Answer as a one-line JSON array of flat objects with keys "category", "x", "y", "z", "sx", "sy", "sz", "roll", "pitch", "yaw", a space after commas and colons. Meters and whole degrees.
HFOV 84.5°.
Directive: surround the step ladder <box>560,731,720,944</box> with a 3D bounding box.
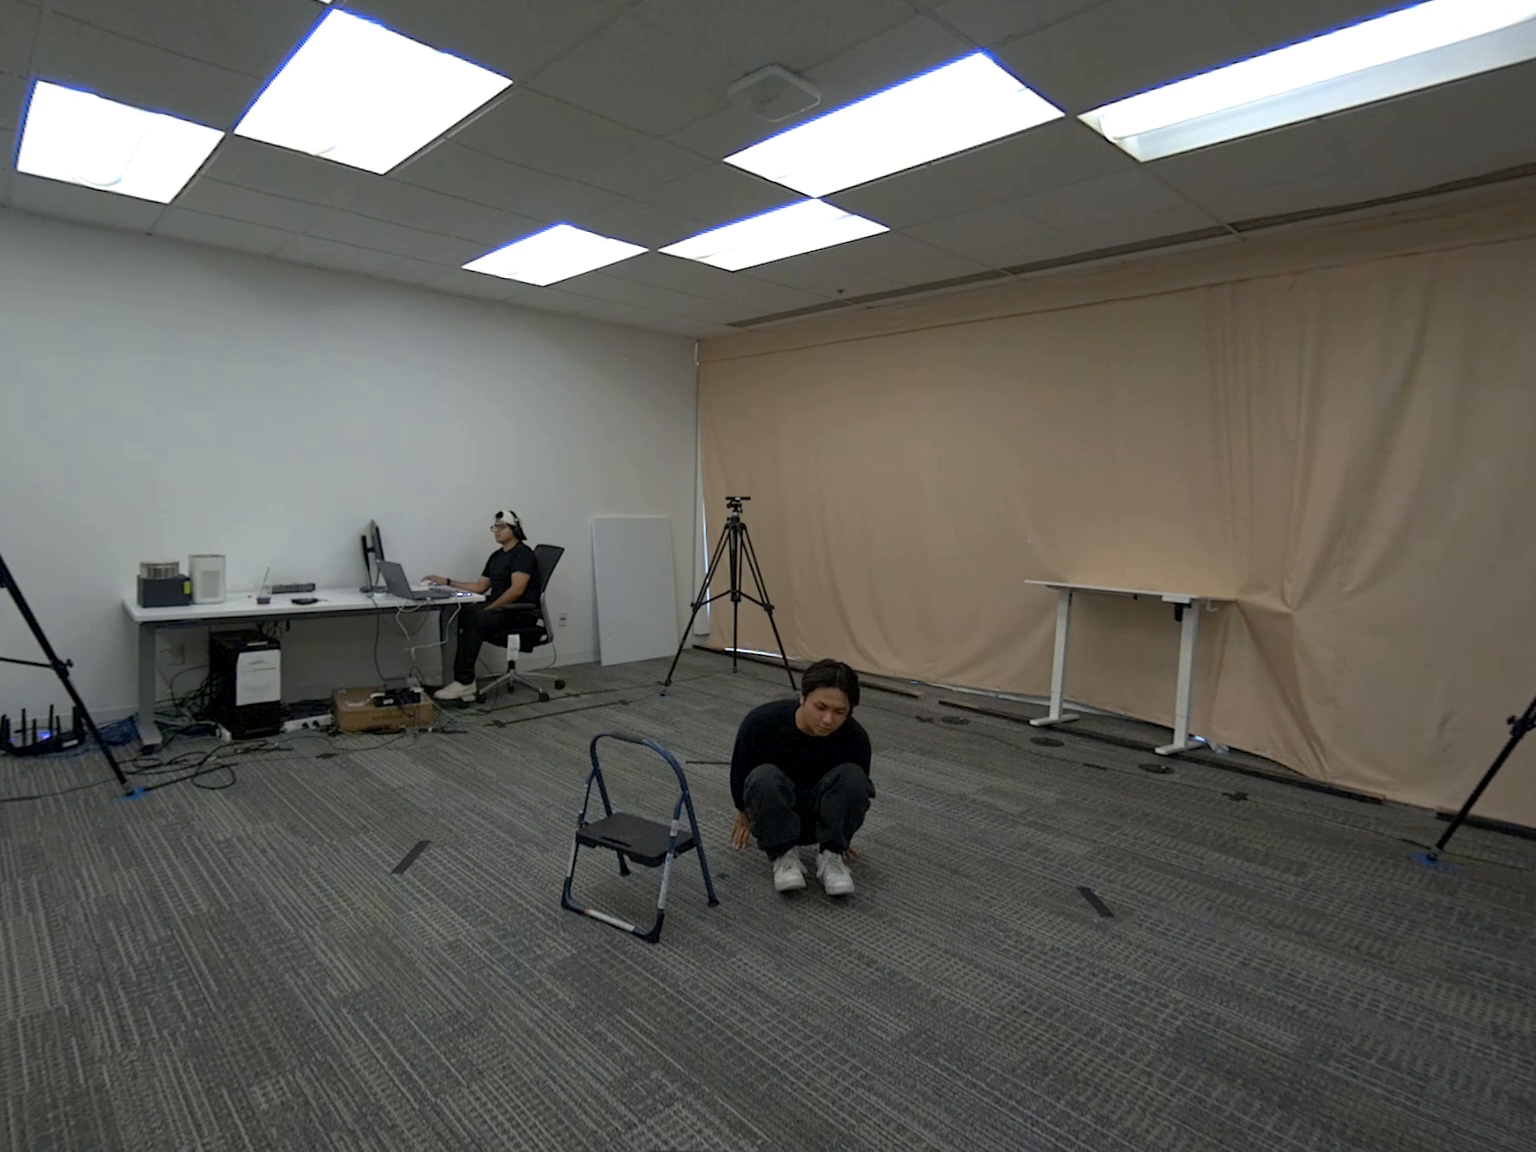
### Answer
[{"category": "step ladder", "x": -0.436, "y": 0.822, "z": 2.848, "sx": 0.440, "sy": 0.605, "sz": 0.342, "roll": 3, "pitch": 4, "yaw": 32}]
